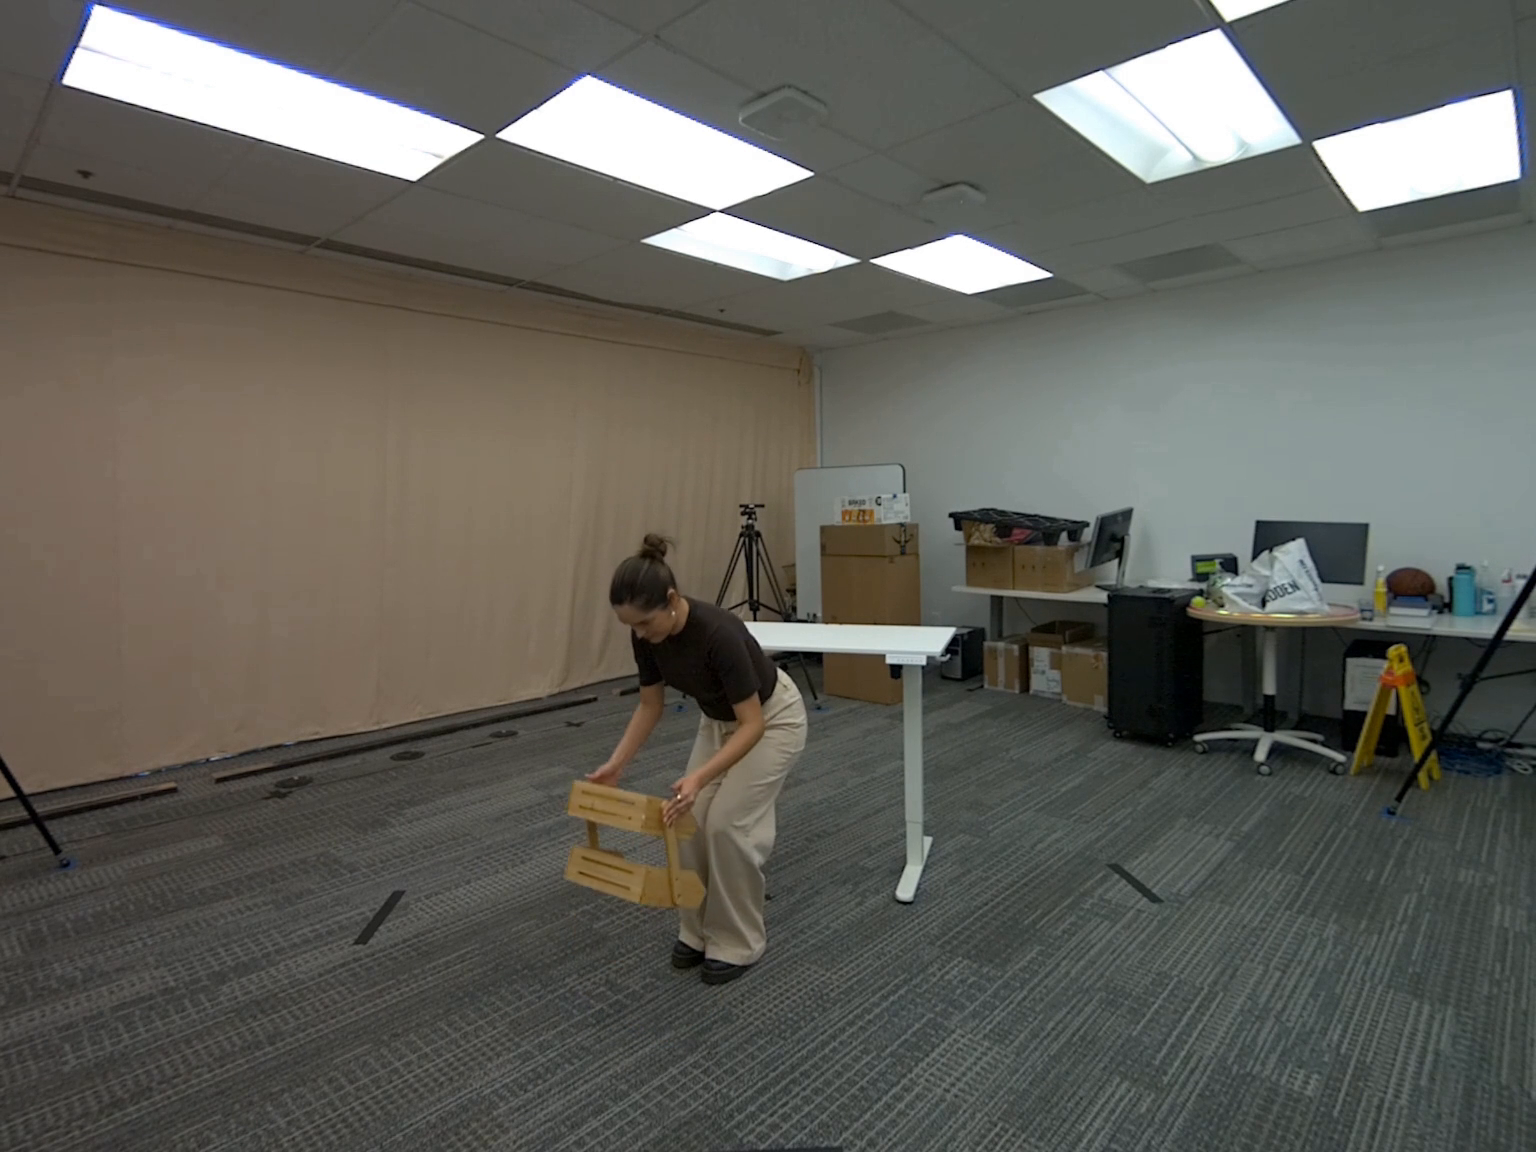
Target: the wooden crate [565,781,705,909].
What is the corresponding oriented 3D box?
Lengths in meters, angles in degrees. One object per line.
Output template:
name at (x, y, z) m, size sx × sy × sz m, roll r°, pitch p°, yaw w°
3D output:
wooden crate at (-0.354, 0.727, 2.311) m, size 0.334 × 0.275 × 0.291 m, roll -1°, pitch -19°, yaw 37°
